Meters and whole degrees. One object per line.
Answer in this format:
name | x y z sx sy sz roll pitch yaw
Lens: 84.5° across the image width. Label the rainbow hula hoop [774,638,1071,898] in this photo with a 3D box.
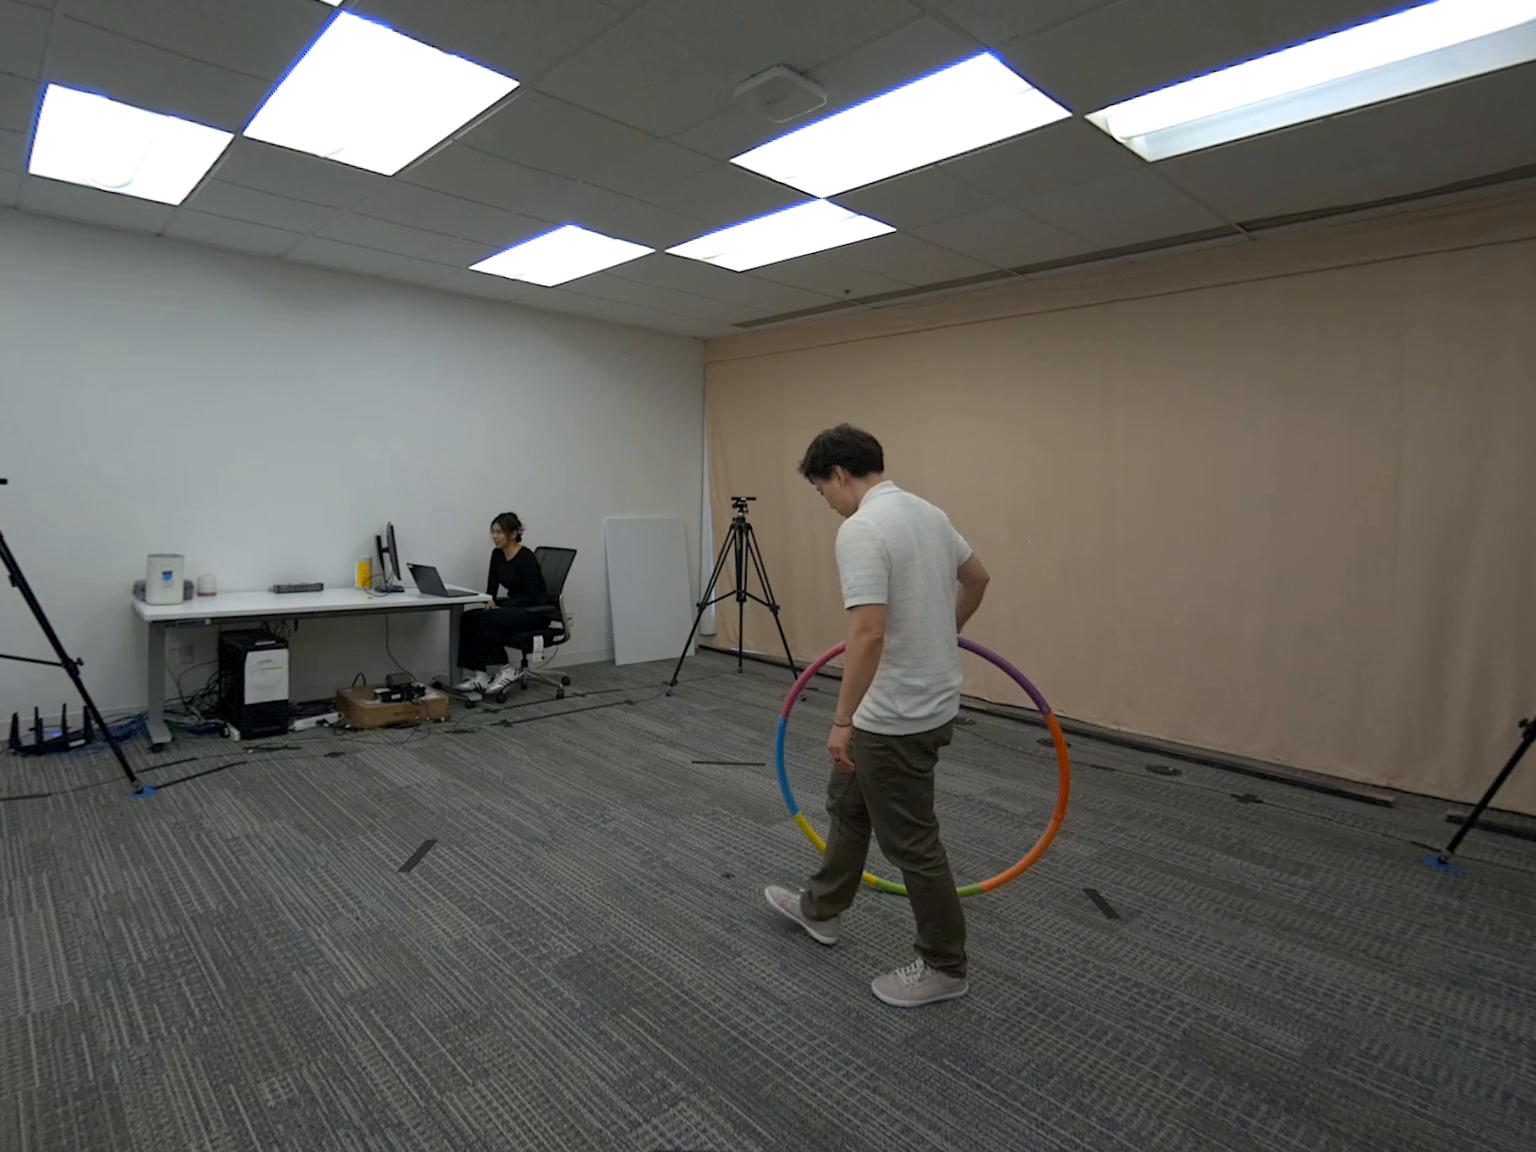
rainbow hula hoop | 0.483 0.658 2.909 0.992 0.973 0.035 3 8 17
